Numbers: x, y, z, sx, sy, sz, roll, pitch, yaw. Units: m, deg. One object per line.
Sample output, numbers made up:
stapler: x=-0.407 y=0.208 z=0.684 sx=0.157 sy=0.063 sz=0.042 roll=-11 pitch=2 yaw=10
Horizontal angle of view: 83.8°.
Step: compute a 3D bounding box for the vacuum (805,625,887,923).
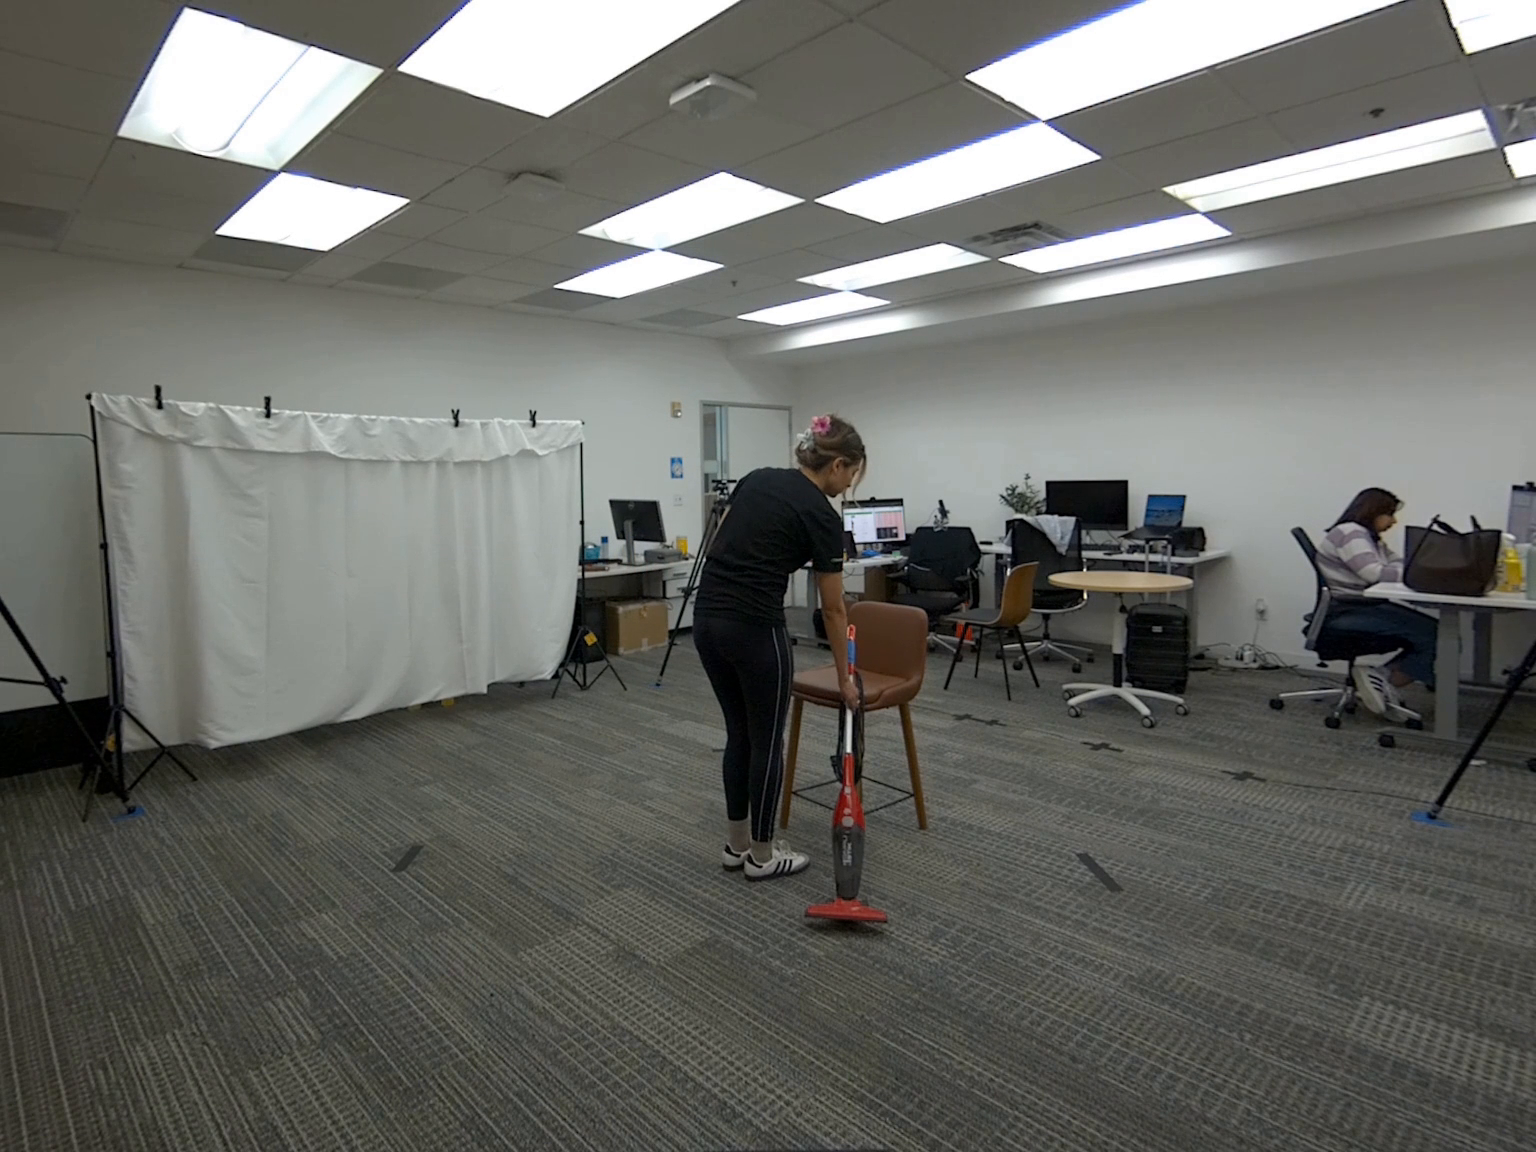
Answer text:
vacuum: x=0.290 y=0.645 z=2.974 sx=0.255 sy=1.073 sz=0.139 roll=-2 pitch=-37 yaw=9
